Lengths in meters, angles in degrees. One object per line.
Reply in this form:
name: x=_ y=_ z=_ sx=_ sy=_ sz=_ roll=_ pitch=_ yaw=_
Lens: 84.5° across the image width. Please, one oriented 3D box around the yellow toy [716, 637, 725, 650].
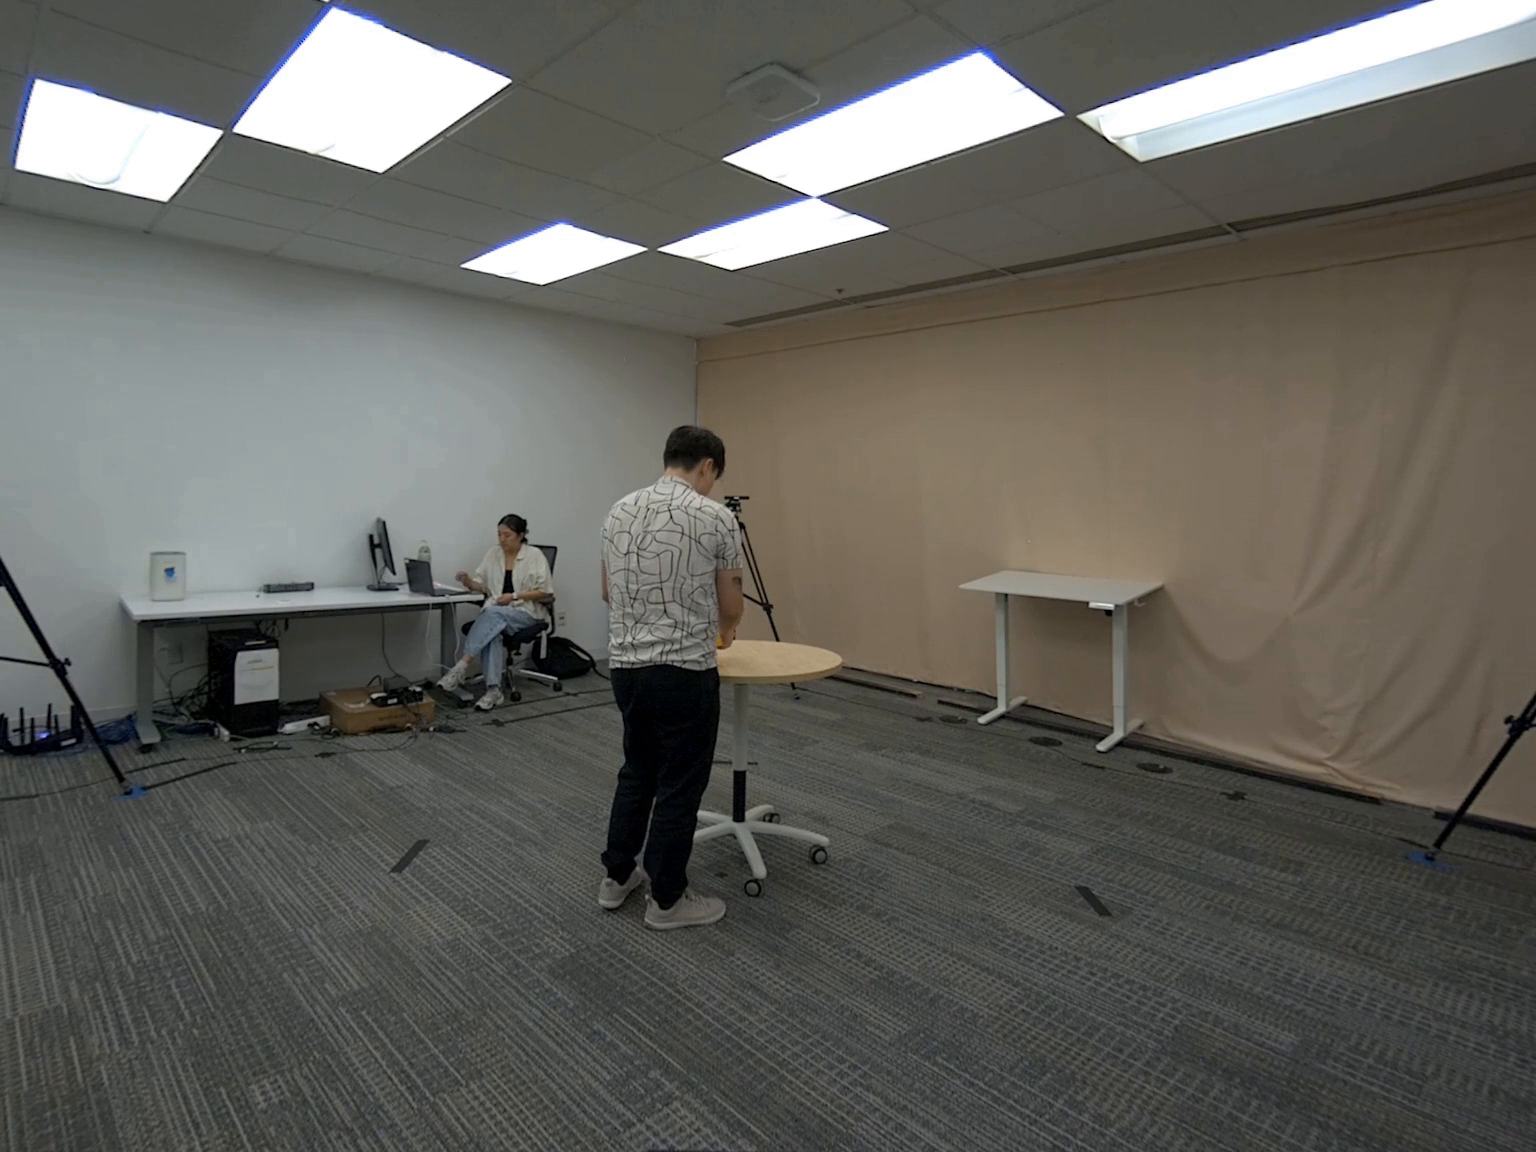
yellow toy: x=-0.258 y=0.209 z=3.093 sx=0.193 sy=0.230 sz=0.206 roll=1 pitch=4 yaw=-3
